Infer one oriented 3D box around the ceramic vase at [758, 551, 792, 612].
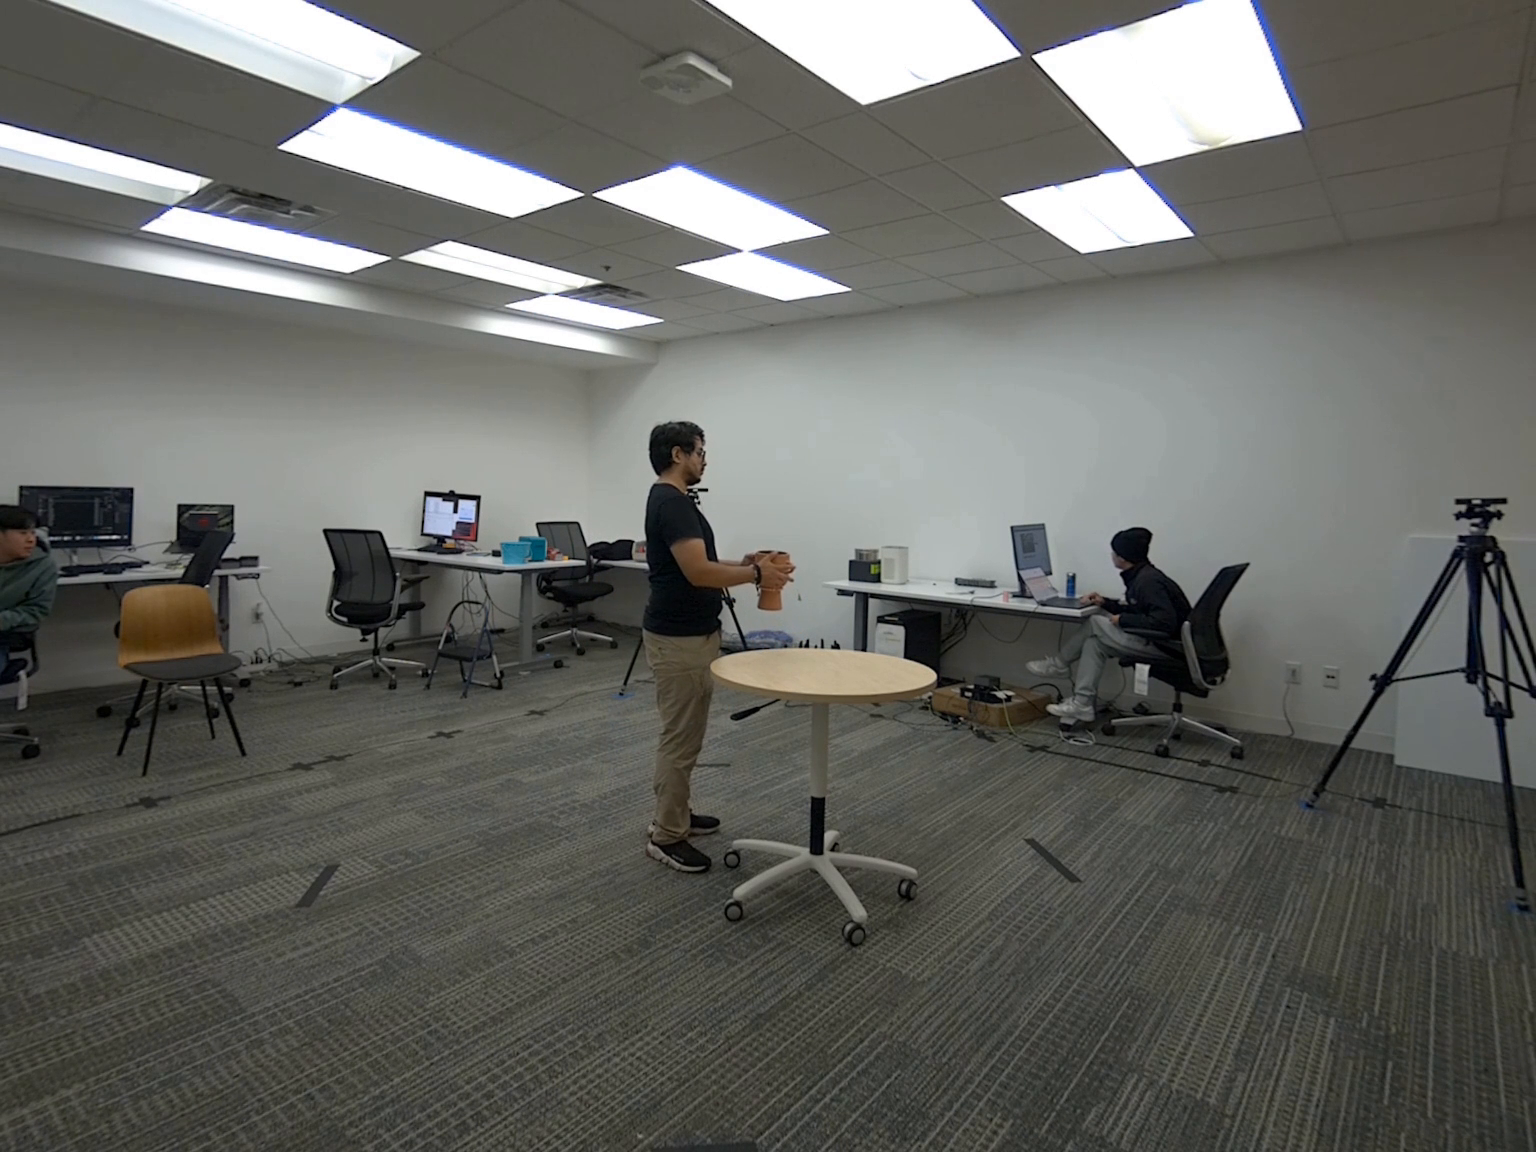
[{"bbox_3d":[0.001,0.019,3.303,0.132,0.218,0.163,0,12,-18],"label":"ceramic vase"}]
